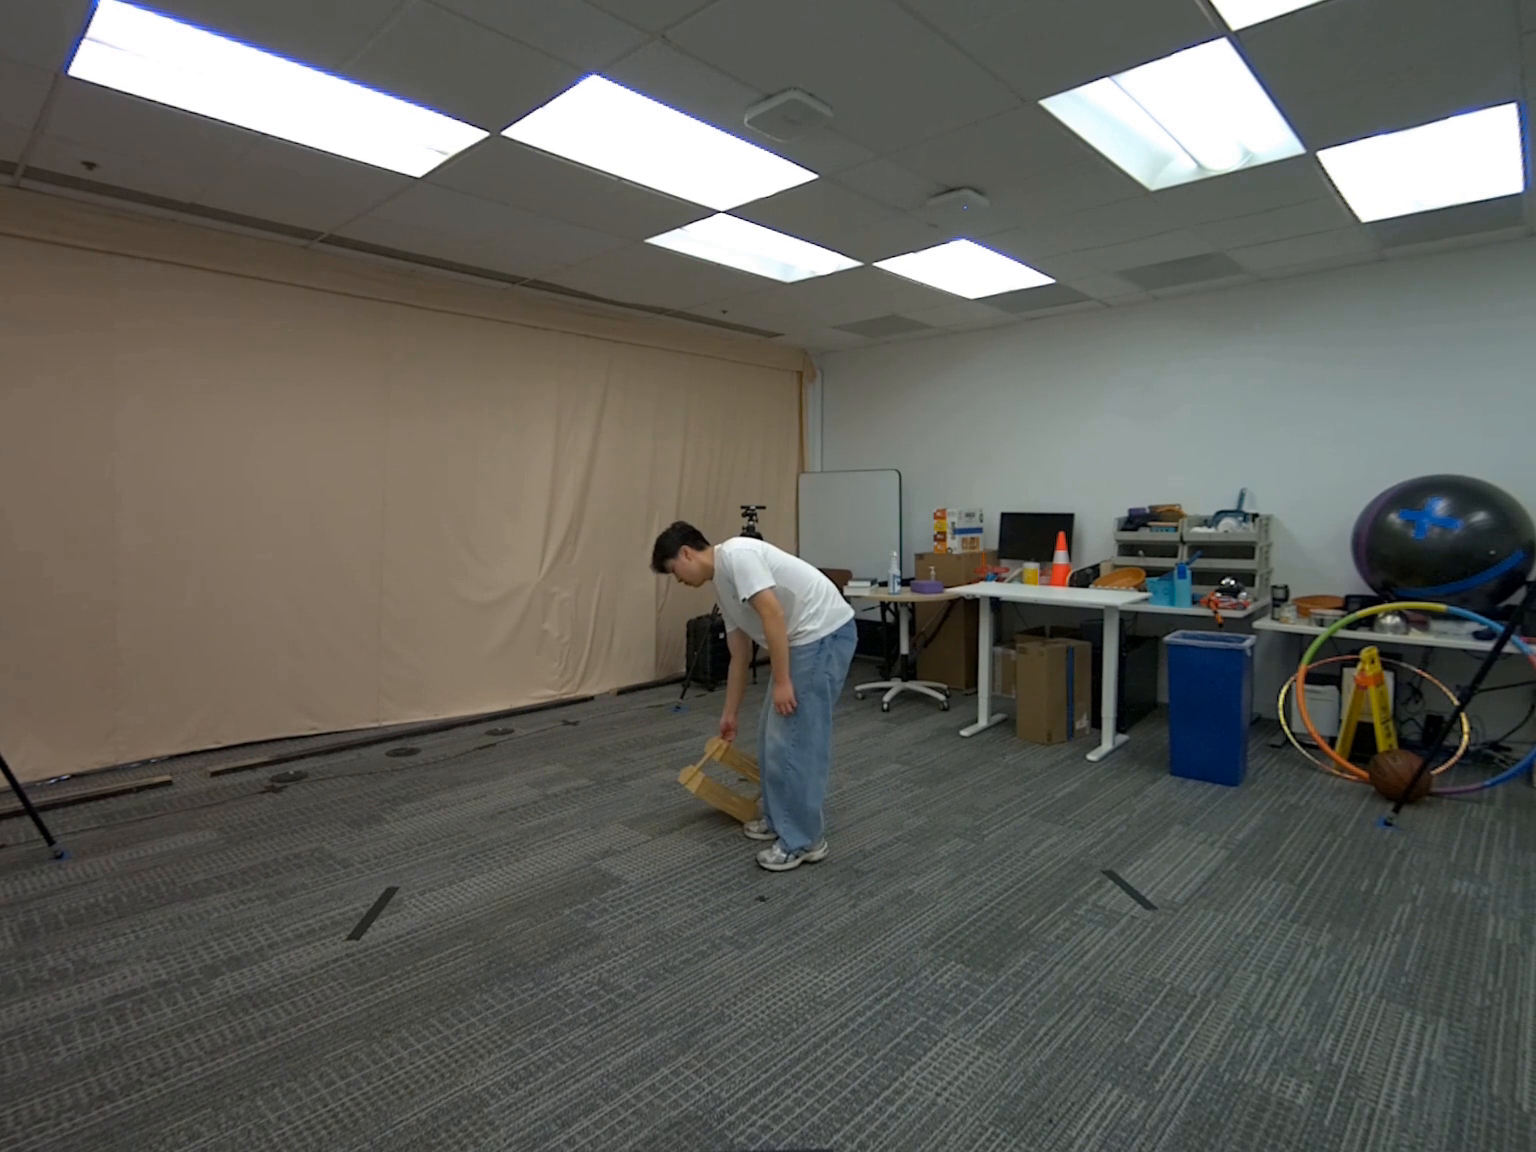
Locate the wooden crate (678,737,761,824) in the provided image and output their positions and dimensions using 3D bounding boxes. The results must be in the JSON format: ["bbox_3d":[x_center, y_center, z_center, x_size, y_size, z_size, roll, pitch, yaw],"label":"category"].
[{"bbox_3d":[-0.169,0.888,3.734,0.317,0.273,0.309,34,-10,-20],"label":"wooden crate"}]
